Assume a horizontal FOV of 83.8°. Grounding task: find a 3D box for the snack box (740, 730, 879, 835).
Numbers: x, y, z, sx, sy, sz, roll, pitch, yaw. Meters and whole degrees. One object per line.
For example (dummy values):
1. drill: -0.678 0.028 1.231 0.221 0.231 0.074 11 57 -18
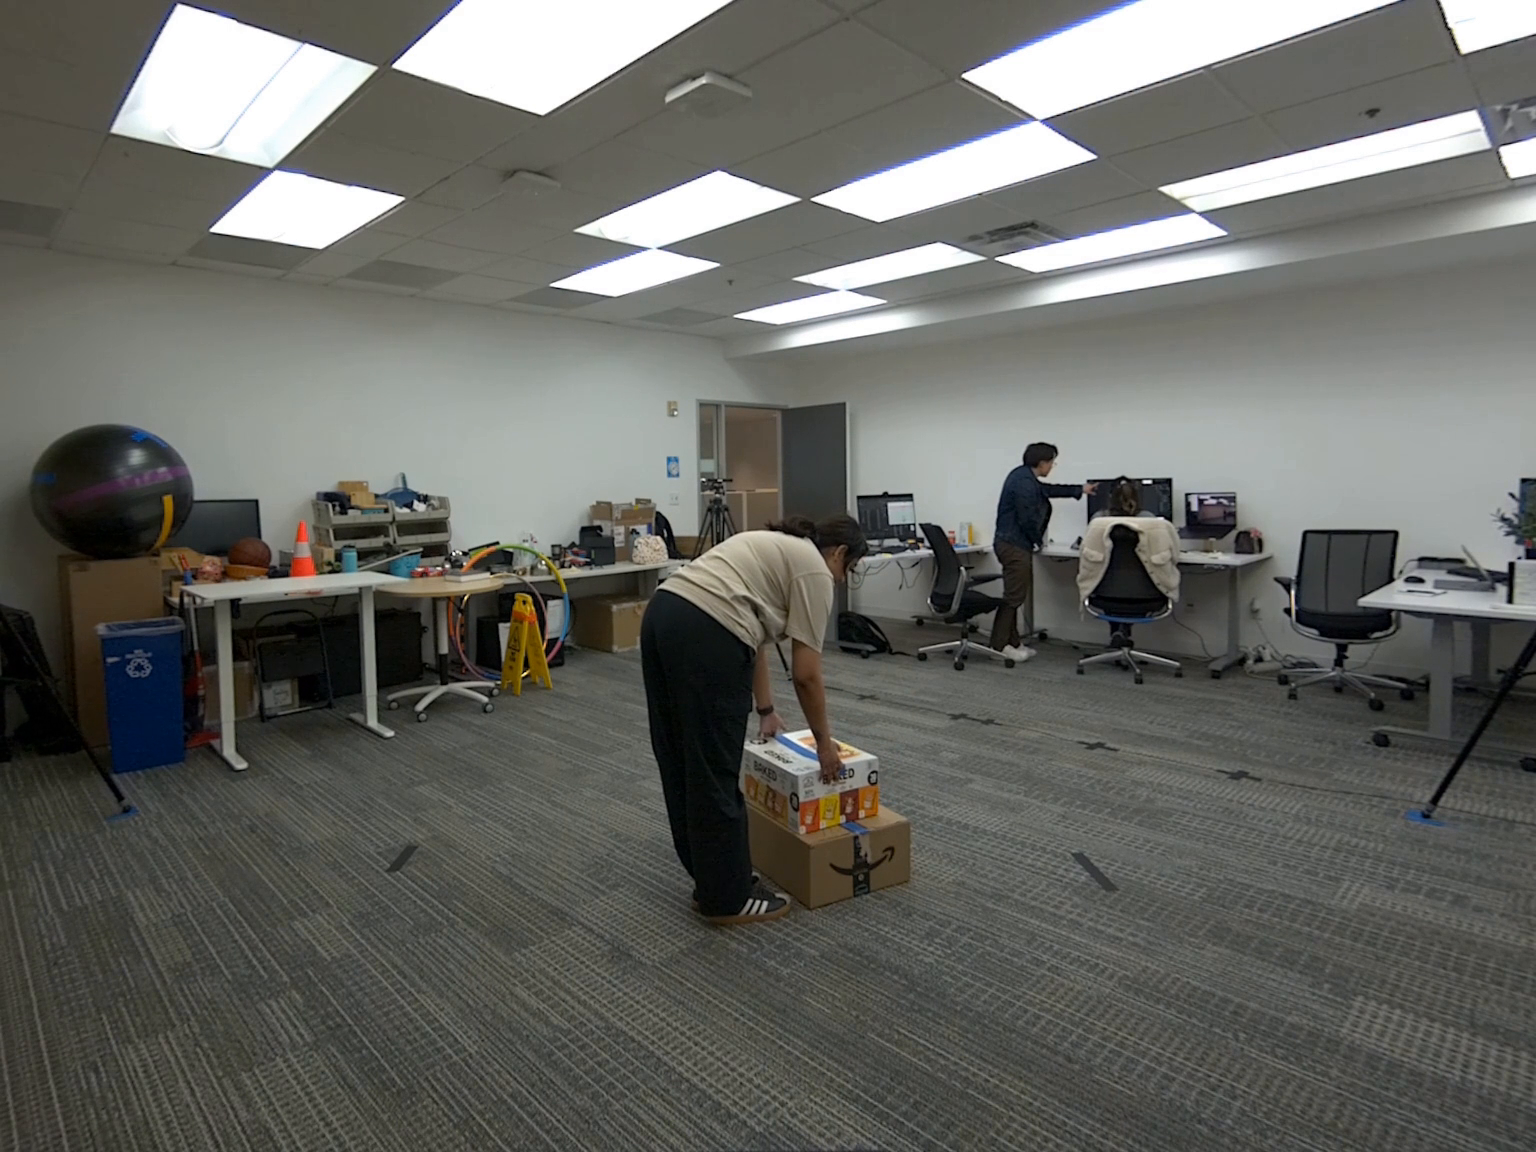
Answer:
1. snack box: 0.134 0.727 3.080 0.332 0.205 0.417 -4 7 -31
